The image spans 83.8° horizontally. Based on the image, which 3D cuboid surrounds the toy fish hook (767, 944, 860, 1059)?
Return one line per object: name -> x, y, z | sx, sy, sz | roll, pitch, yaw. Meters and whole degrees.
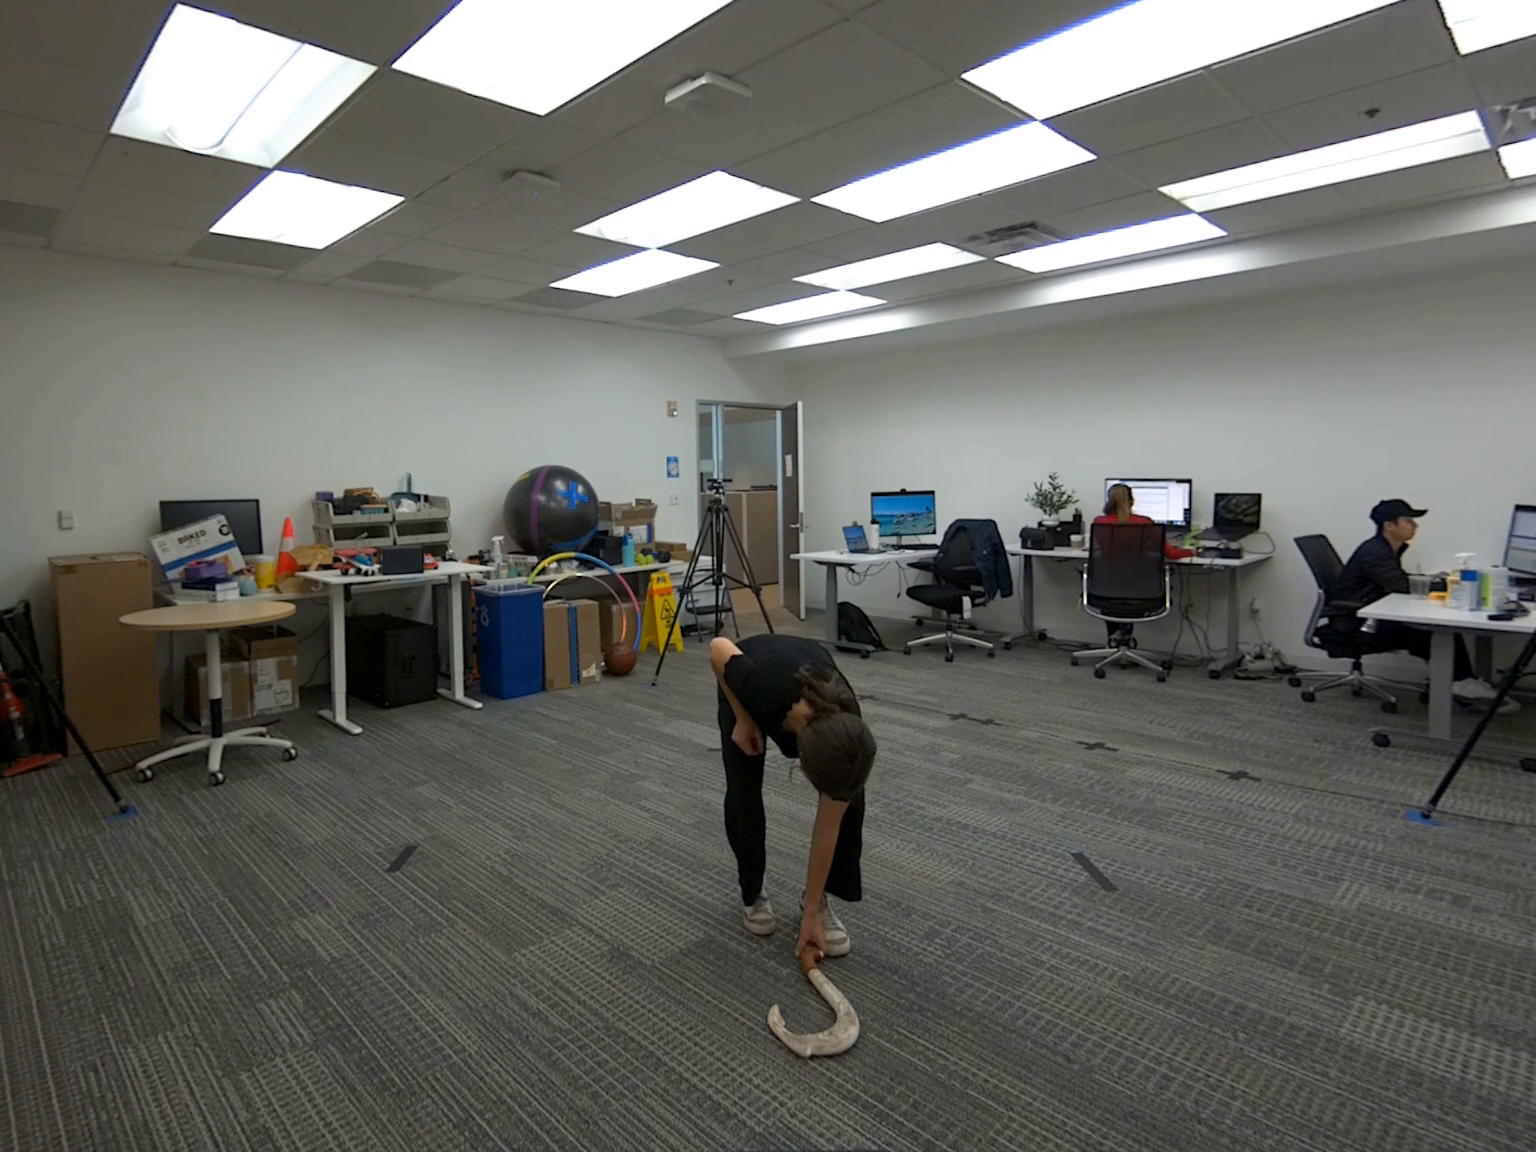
toy fish hook -> 0.091, 1.106, 2.311 | 0.223, 0.048, 0.513 | -2, 7, -9
